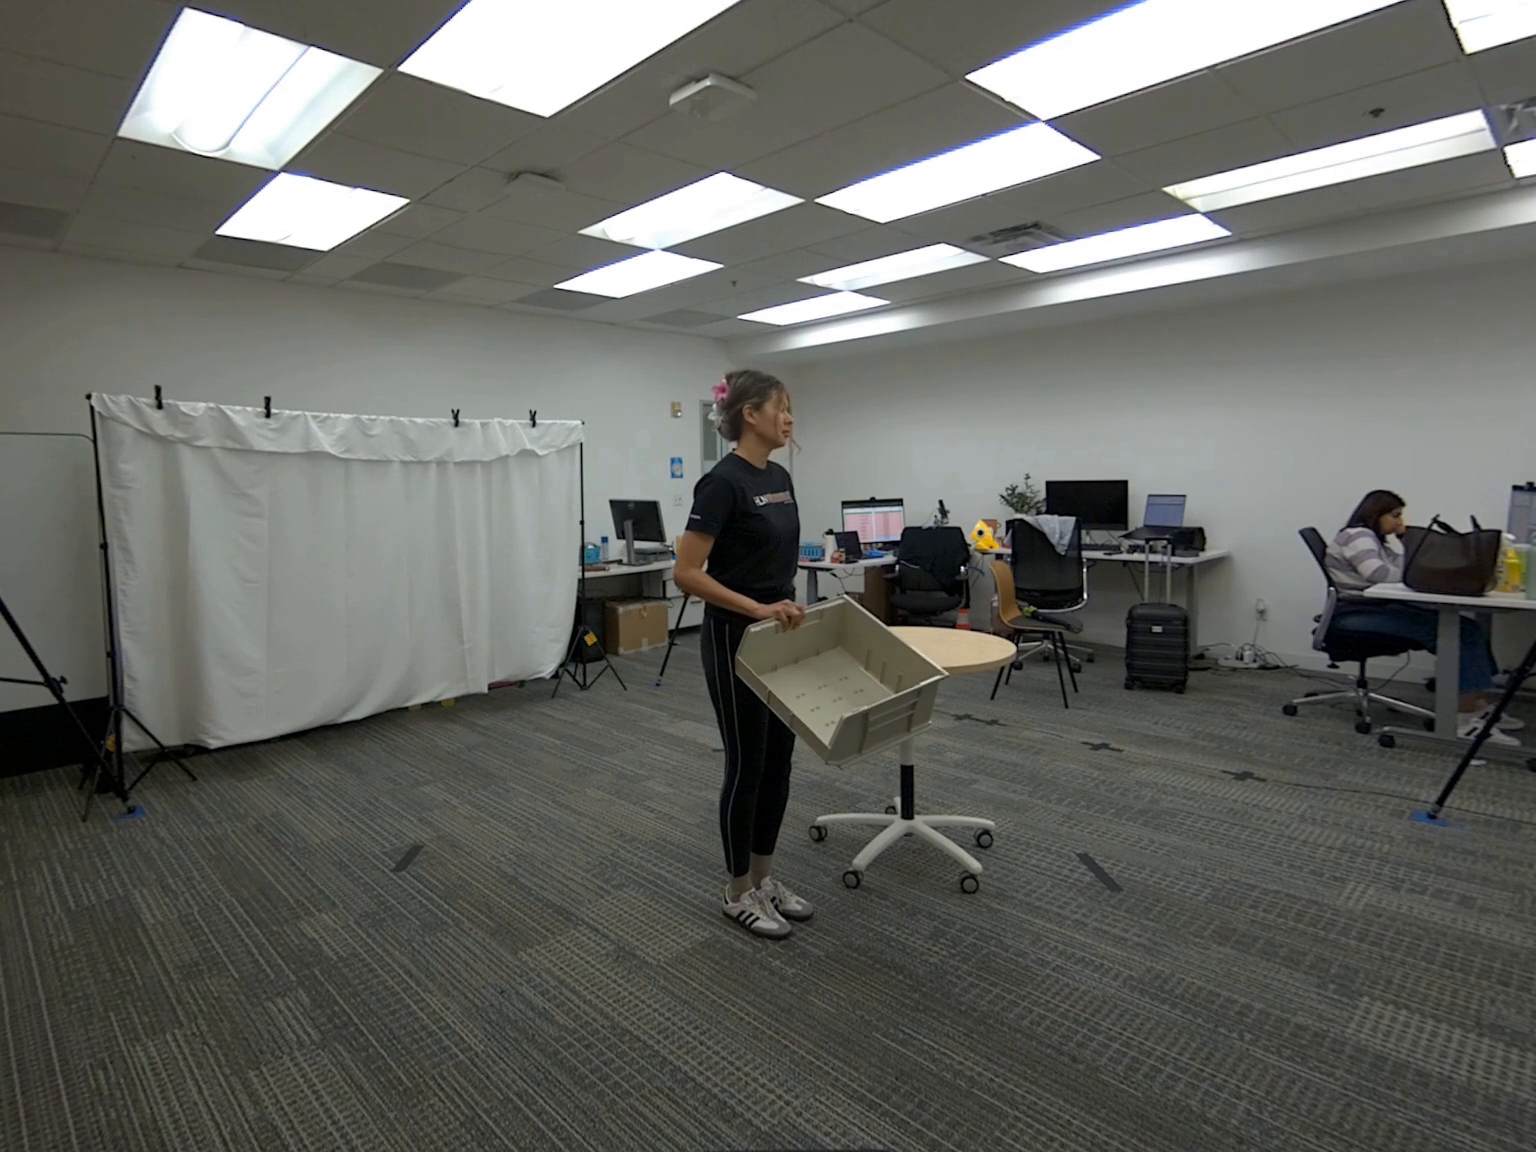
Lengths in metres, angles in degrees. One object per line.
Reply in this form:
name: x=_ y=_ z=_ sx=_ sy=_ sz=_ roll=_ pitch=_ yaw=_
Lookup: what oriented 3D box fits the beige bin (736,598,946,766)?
beige bin: x=0.187 y=0.279 z=2.271 sx=0.370 sy=0.185 sz=0.439 roll=-14 pitch=34 yaw=-30
